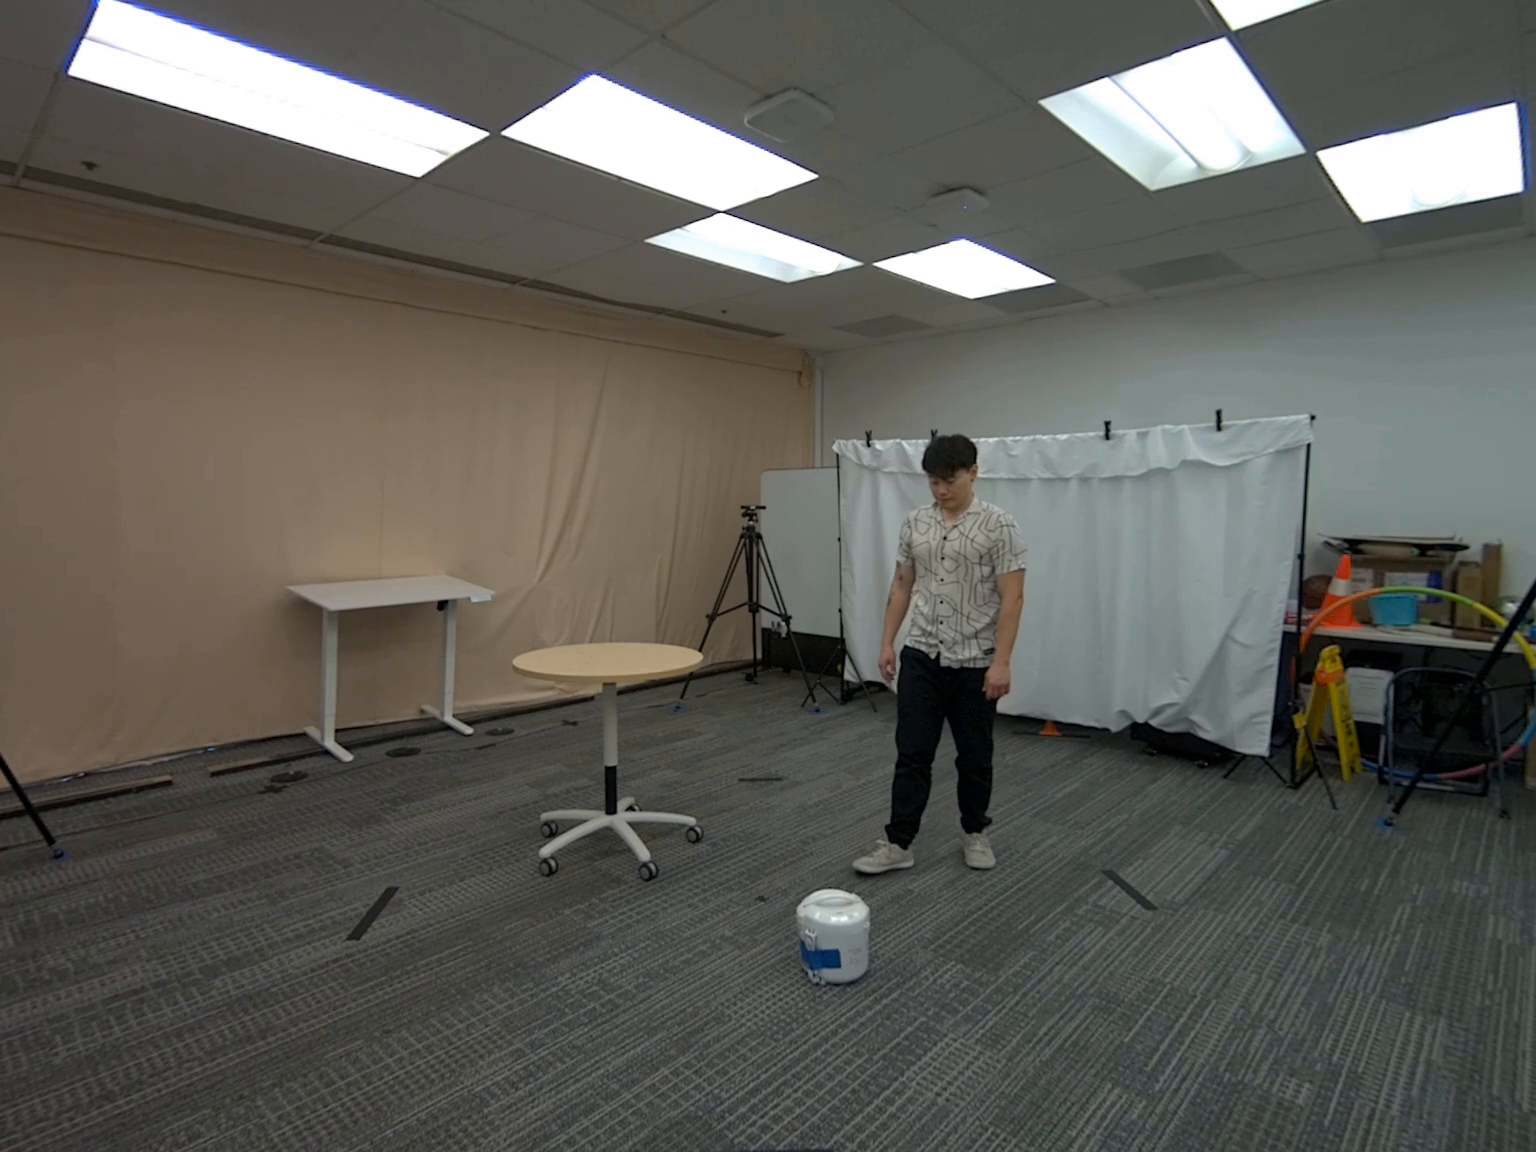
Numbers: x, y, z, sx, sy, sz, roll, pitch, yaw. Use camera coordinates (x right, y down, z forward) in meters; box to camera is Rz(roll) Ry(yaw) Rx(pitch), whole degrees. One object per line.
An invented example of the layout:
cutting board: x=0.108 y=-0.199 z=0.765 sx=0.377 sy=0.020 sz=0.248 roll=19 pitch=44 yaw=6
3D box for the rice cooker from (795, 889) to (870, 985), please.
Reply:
rice cooker: x=0.200 y=1.063 z=2.527 sx=0.219 sy=0.232 sz=0.219 roll=0 pitch=4 yaw=-6
